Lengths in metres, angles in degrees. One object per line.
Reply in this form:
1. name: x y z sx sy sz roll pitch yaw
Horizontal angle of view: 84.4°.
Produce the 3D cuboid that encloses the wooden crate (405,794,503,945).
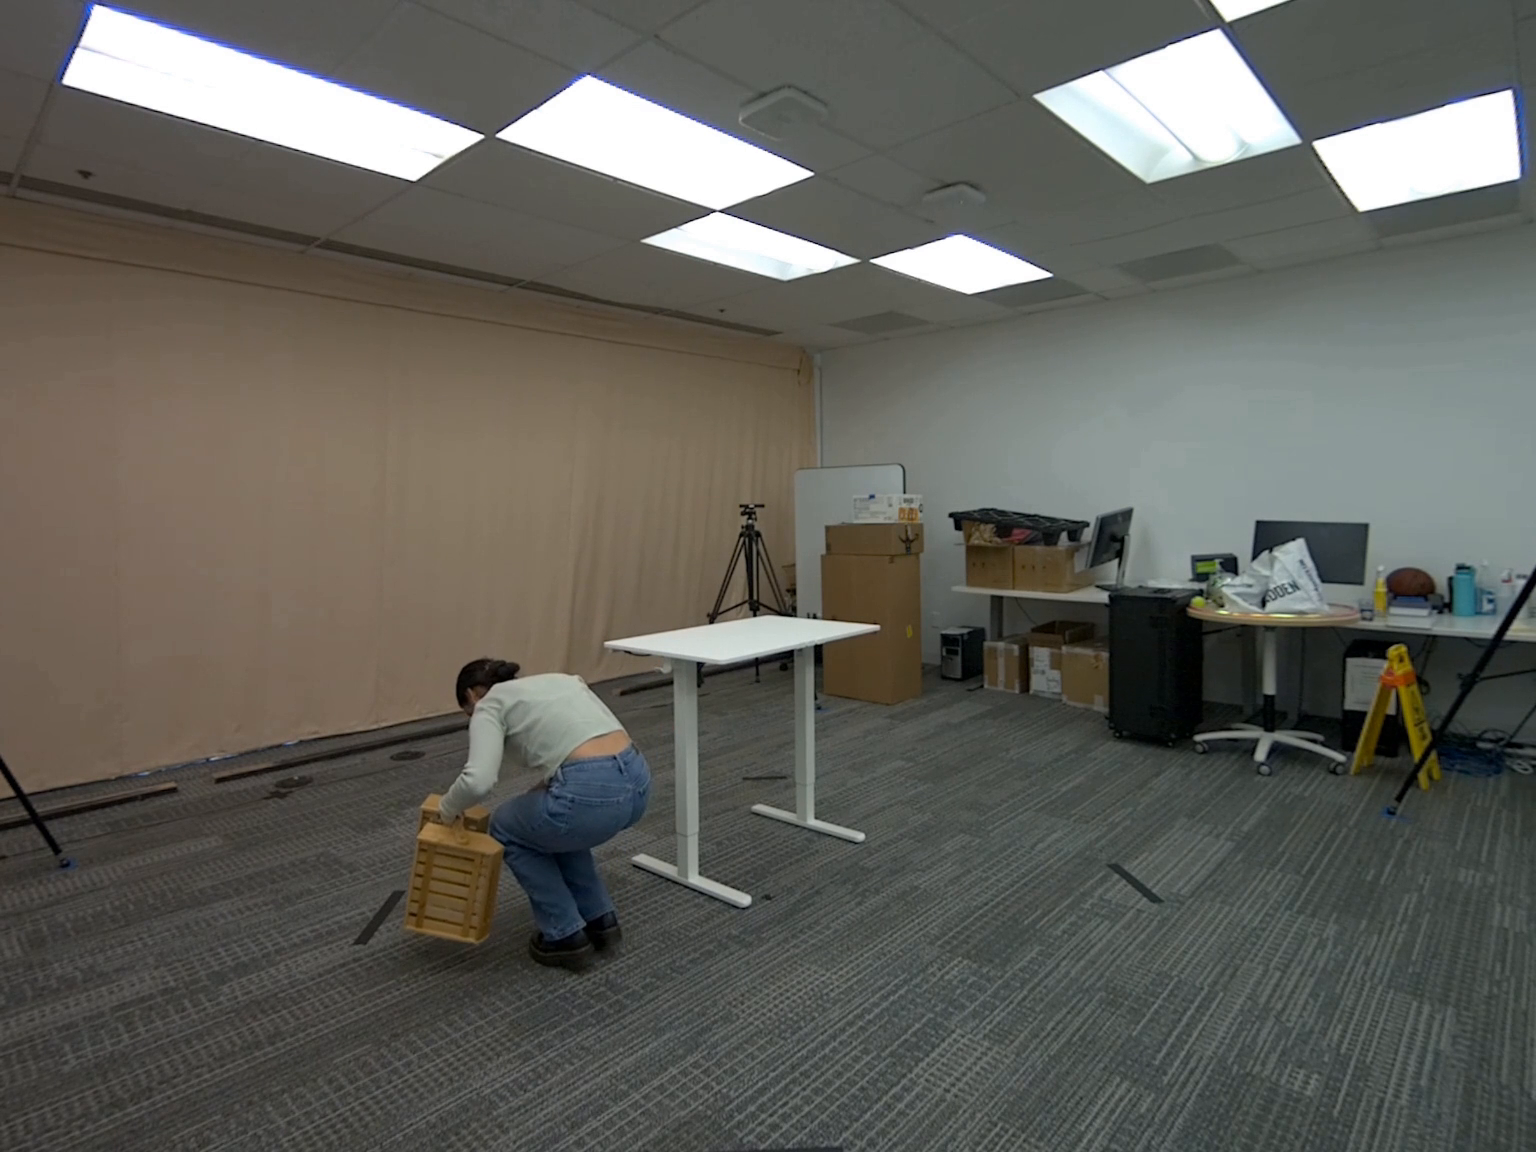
1. wooden crate: -0.967 0.916 2.600 0.300 0.323 0.276 11 11 -5
